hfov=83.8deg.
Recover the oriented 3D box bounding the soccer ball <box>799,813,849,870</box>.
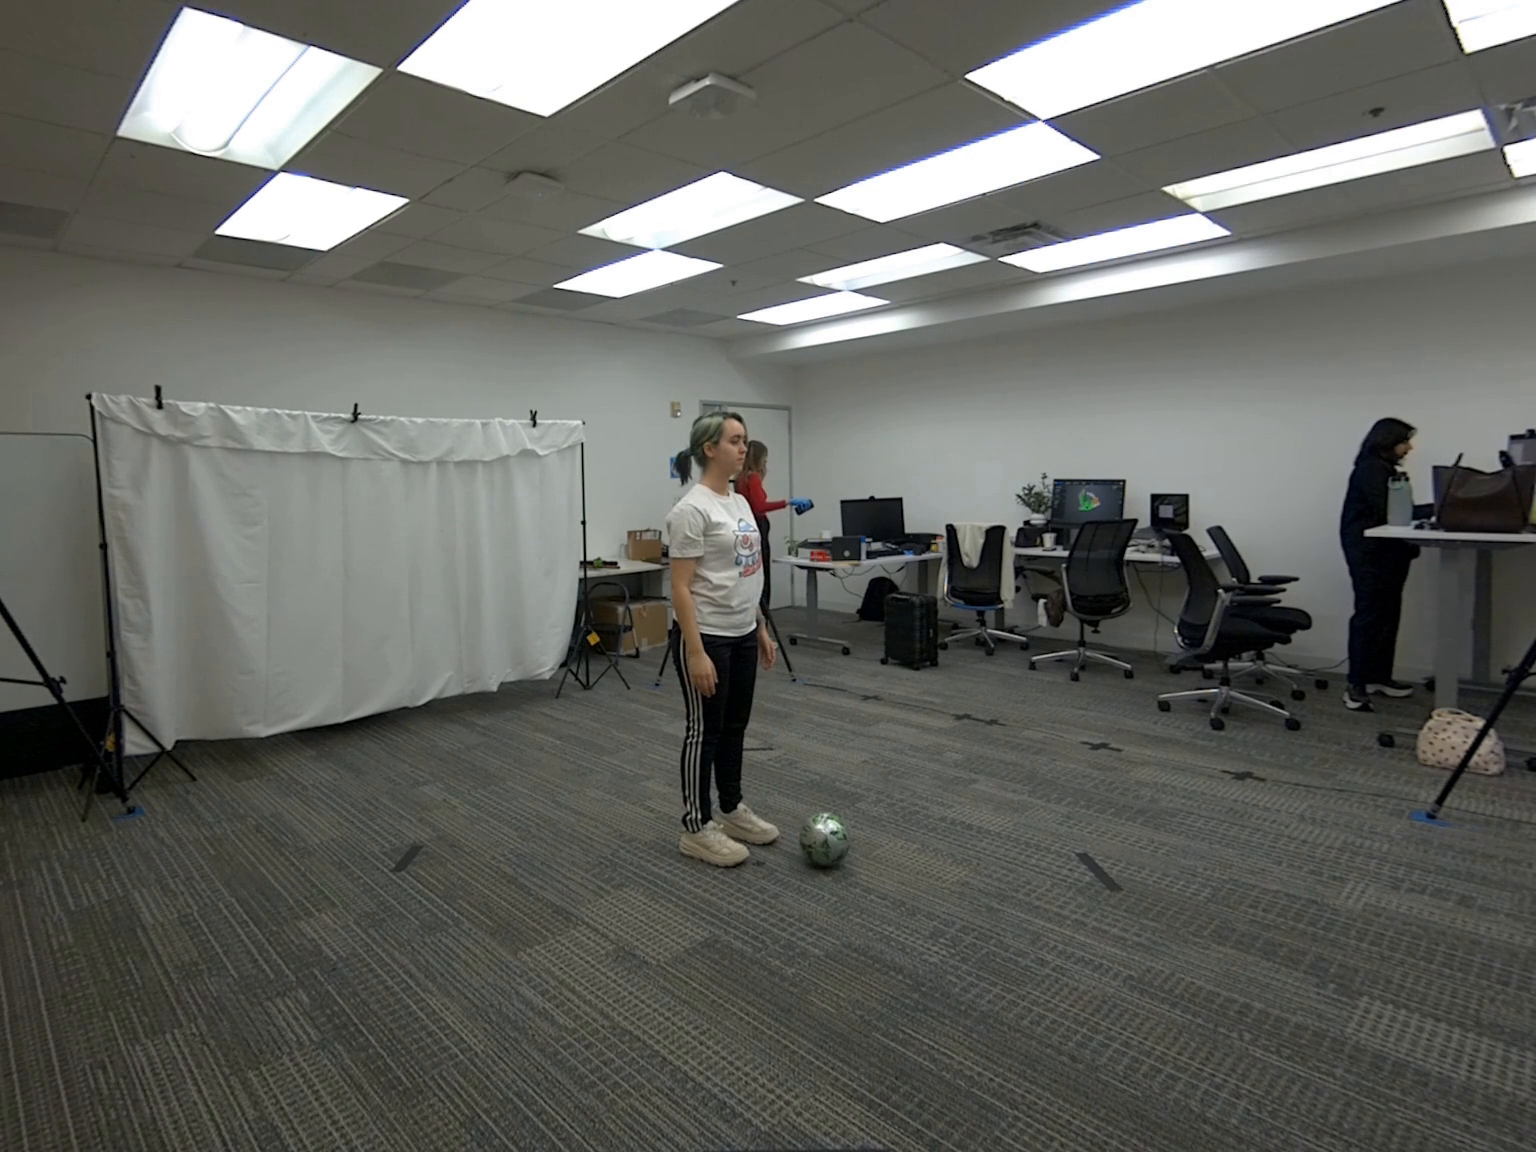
[{"bbox_3d":[0.212,0.952,3.086,0.187,0.187,0.188,-1,5,-2],"label":"soccer ball"}]
